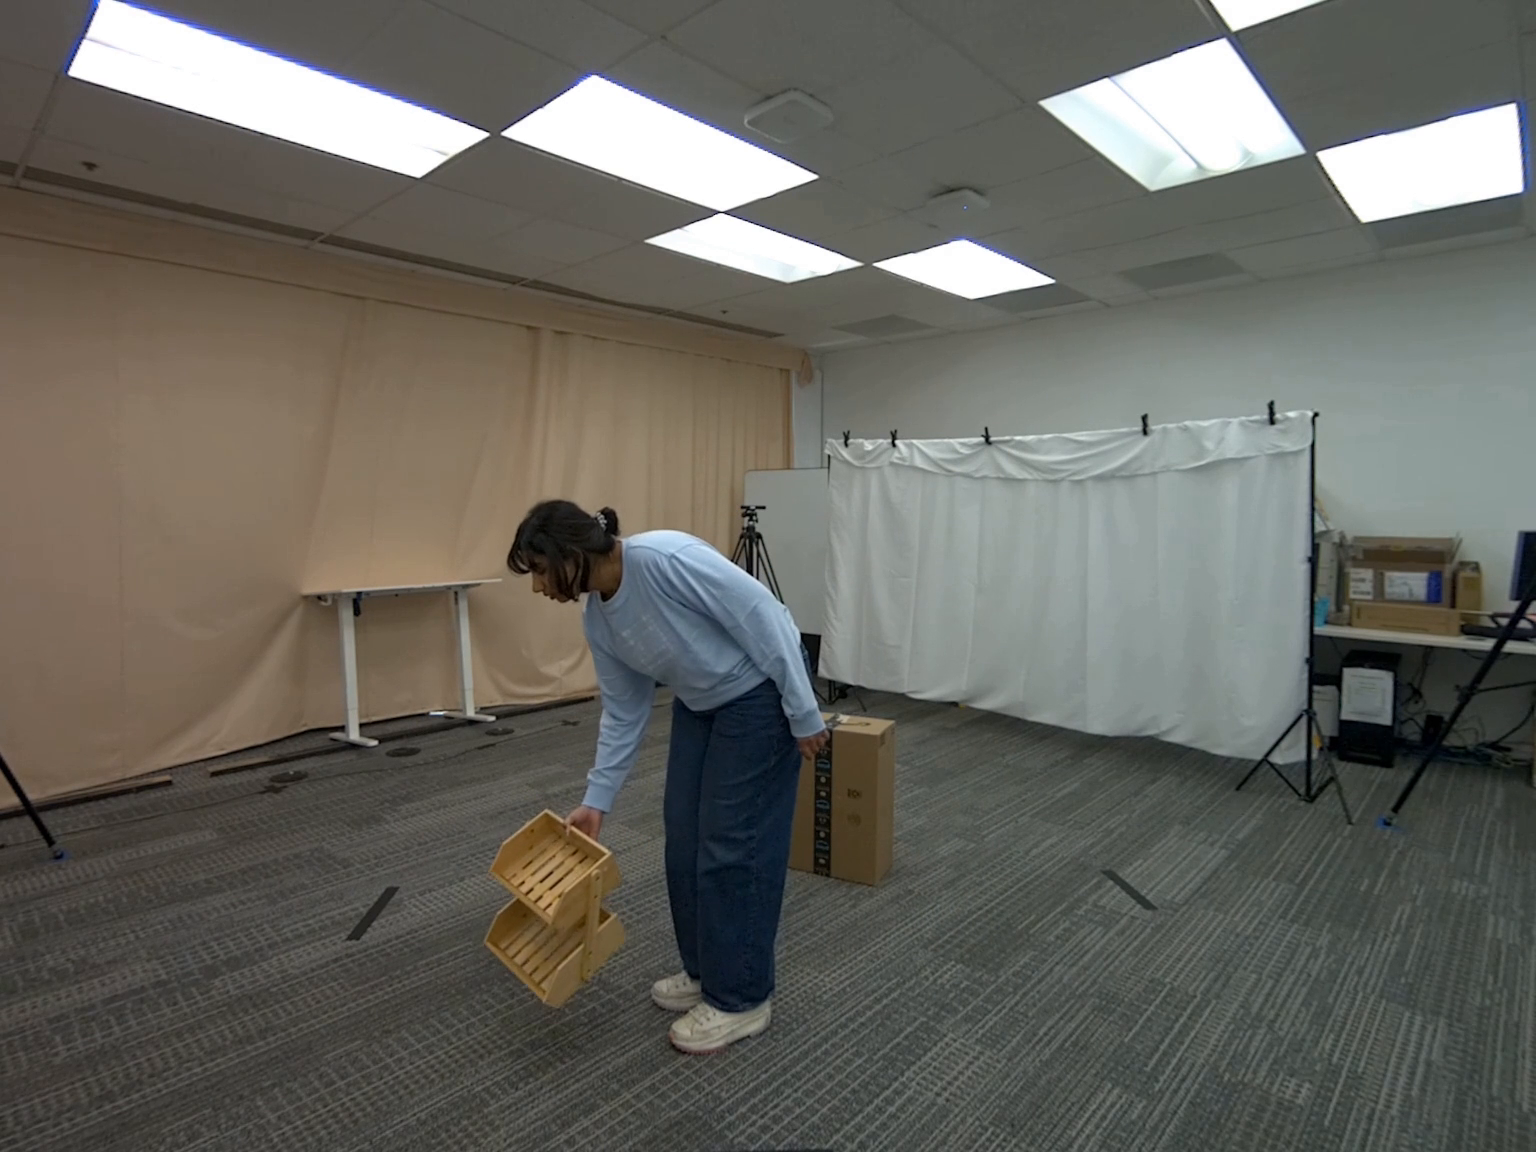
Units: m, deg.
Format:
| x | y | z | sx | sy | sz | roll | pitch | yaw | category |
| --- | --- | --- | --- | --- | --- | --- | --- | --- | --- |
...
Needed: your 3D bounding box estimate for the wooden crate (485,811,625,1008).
| x | y | z | sx | sy | sz | roll | pitch | yaw | category |
| --- | --- | --- | --- | --- | --- | --- | --- | --- | --- |
| -0.562 | 0.842 | 2.141 | 0.336 | 0.268 | 0.297 | 11 | 35 | 44 | wooden crate |
